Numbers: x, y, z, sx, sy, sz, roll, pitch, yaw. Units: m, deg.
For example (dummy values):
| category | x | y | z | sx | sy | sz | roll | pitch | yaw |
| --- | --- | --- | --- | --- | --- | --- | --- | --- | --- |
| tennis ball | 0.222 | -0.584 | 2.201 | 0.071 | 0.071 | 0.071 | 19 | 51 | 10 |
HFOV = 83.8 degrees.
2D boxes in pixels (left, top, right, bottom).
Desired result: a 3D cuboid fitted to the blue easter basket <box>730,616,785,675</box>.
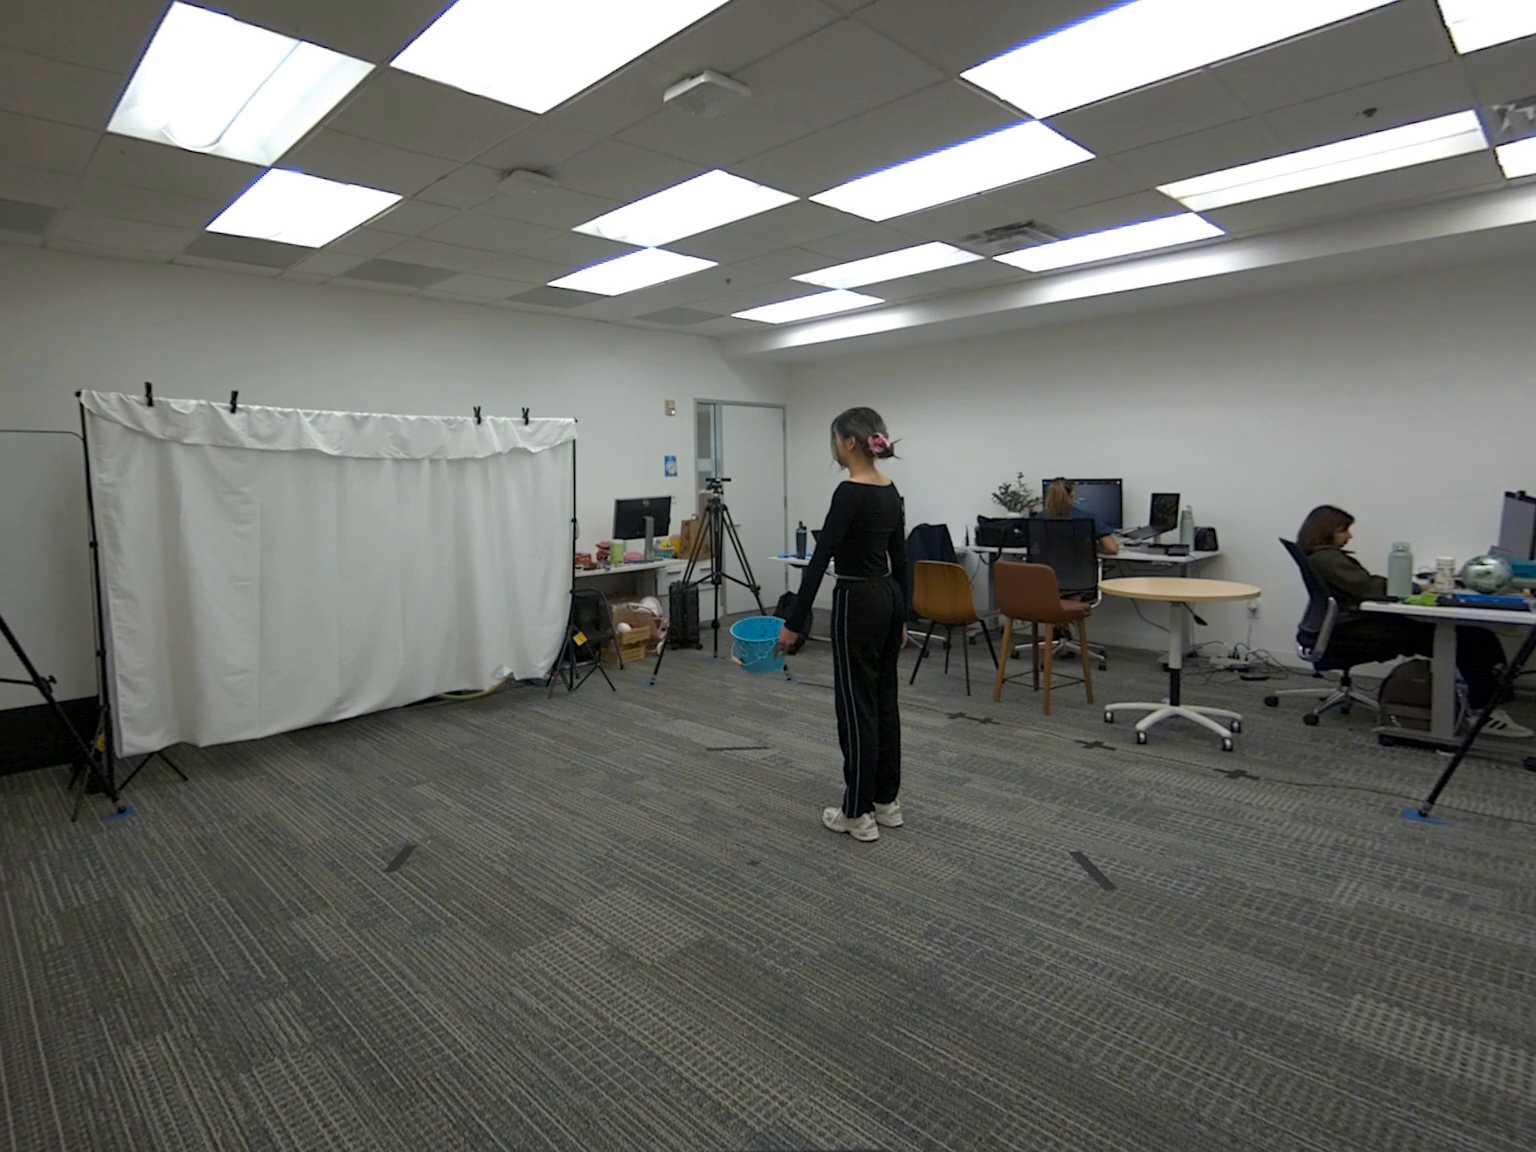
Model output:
| category | x | y | z | sx | sy | sz | roll | pitch | yaw |
| --- | --- | --- | --- | --- | --- | --- | --- | --- | --- |
| blue easter basket | -0.027 | 0.270 | 3.347 | 0.243 | 0.153 | 0.247 | -3 | 18 | -1 |
